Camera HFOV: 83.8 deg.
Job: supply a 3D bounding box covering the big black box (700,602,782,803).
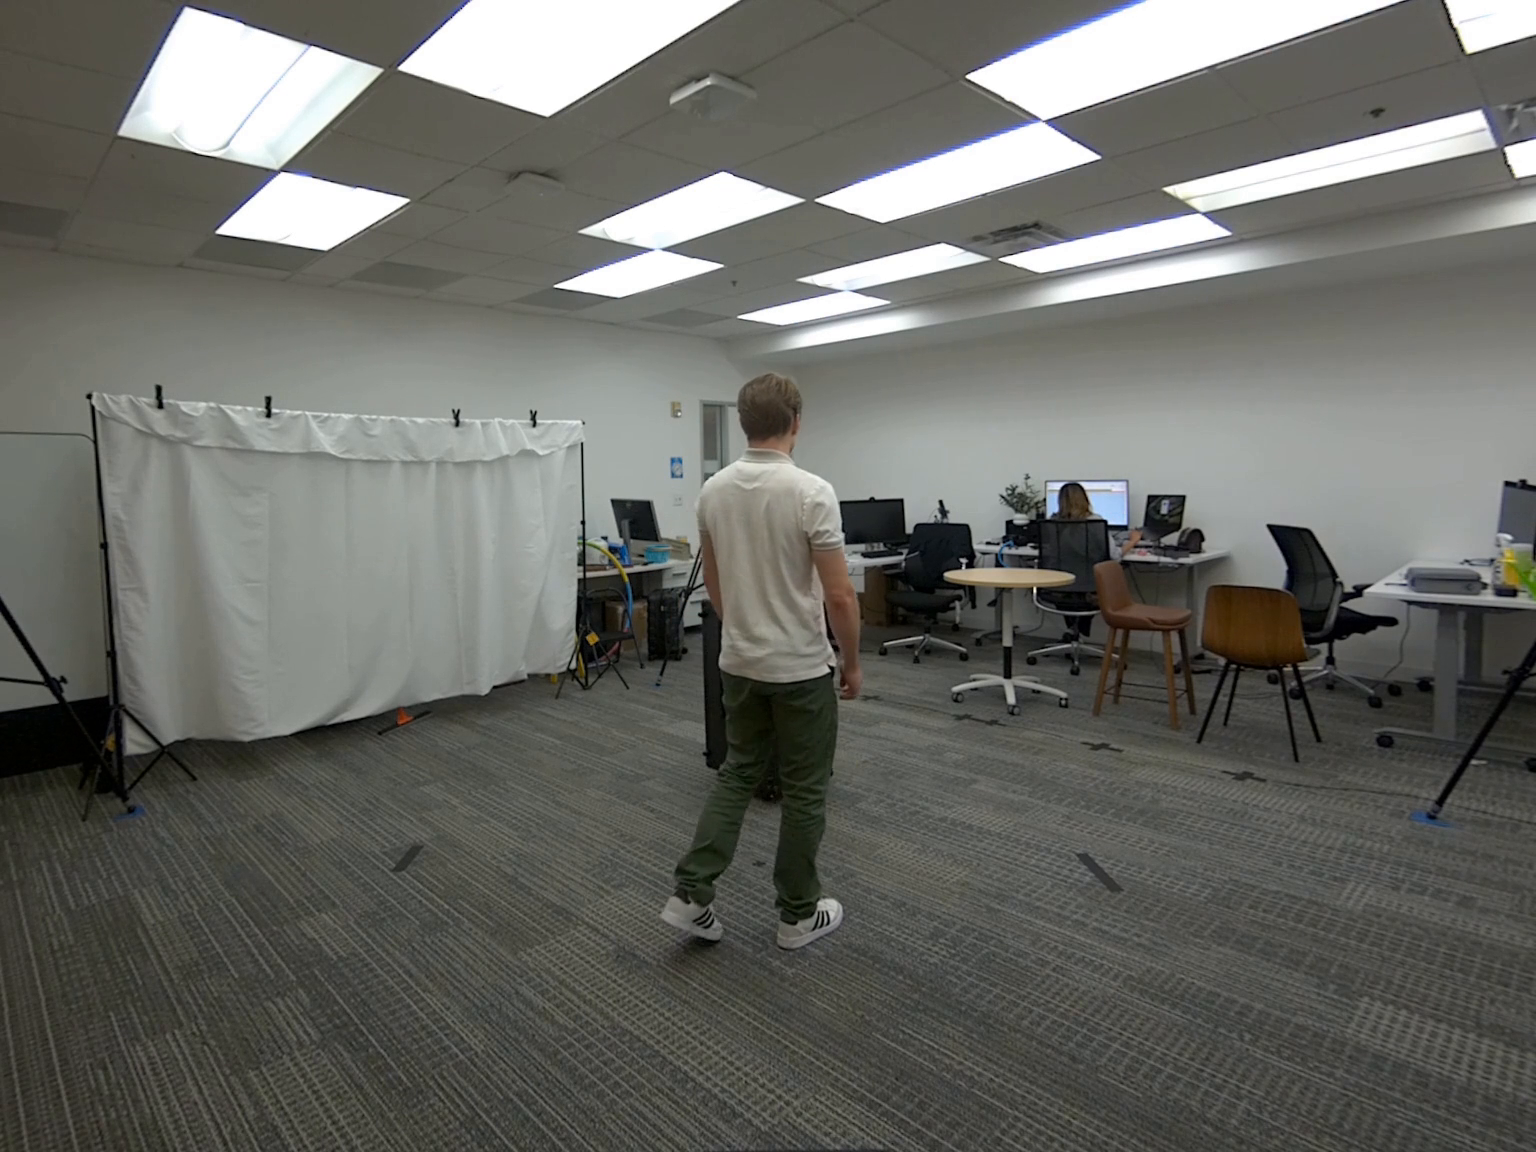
[{"bbox_3d":[-0.005,0.541,3.872,0.375,0.865,0.539,-5,5,-39],"label":"big black box"}]
